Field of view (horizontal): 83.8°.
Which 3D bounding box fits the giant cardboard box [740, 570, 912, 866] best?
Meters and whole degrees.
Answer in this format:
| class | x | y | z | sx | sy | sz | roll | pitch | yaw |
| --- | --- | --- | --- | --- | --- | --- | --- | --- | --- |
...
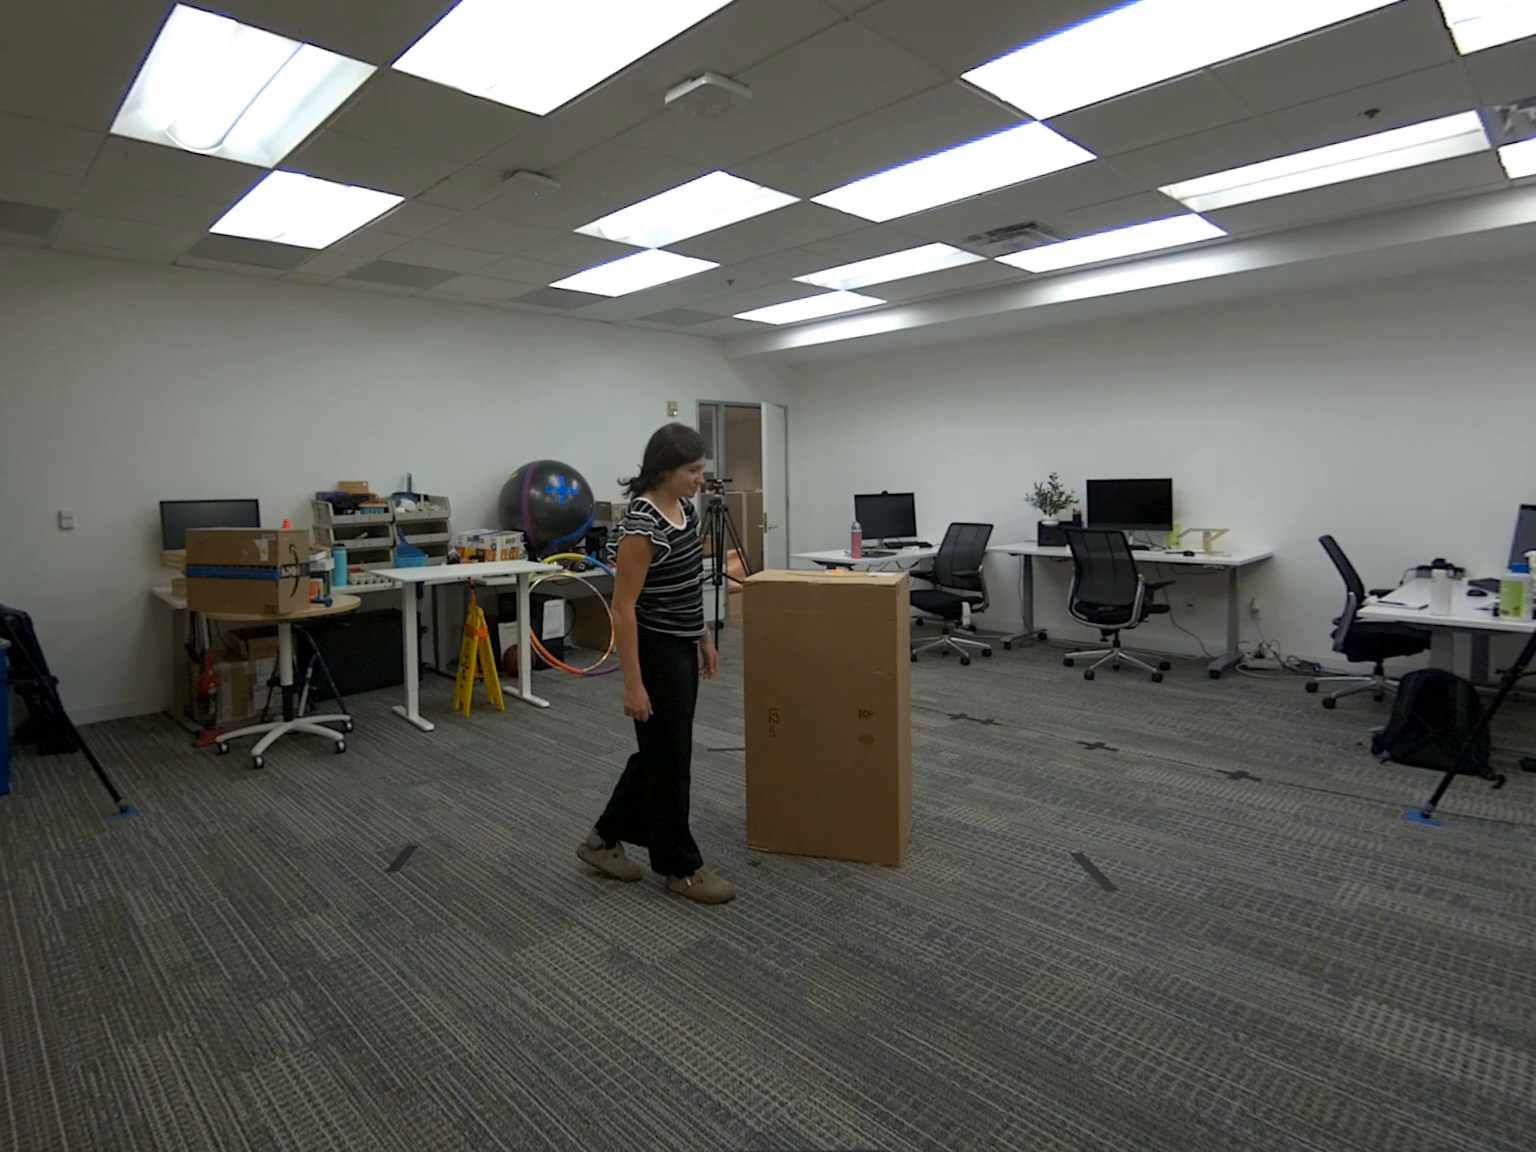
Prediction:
| class | x | y | z | sx | sy | sz | roll | pitch | yaw |
| --- | --- | --- | --- | --- | --- | --- | --- | --- | --- |
| giant cardboard box | 0.240 | 0.506 | 3.313 | 0.587 | 1.022 | 0.421 | 0 | 4 | 17 |
